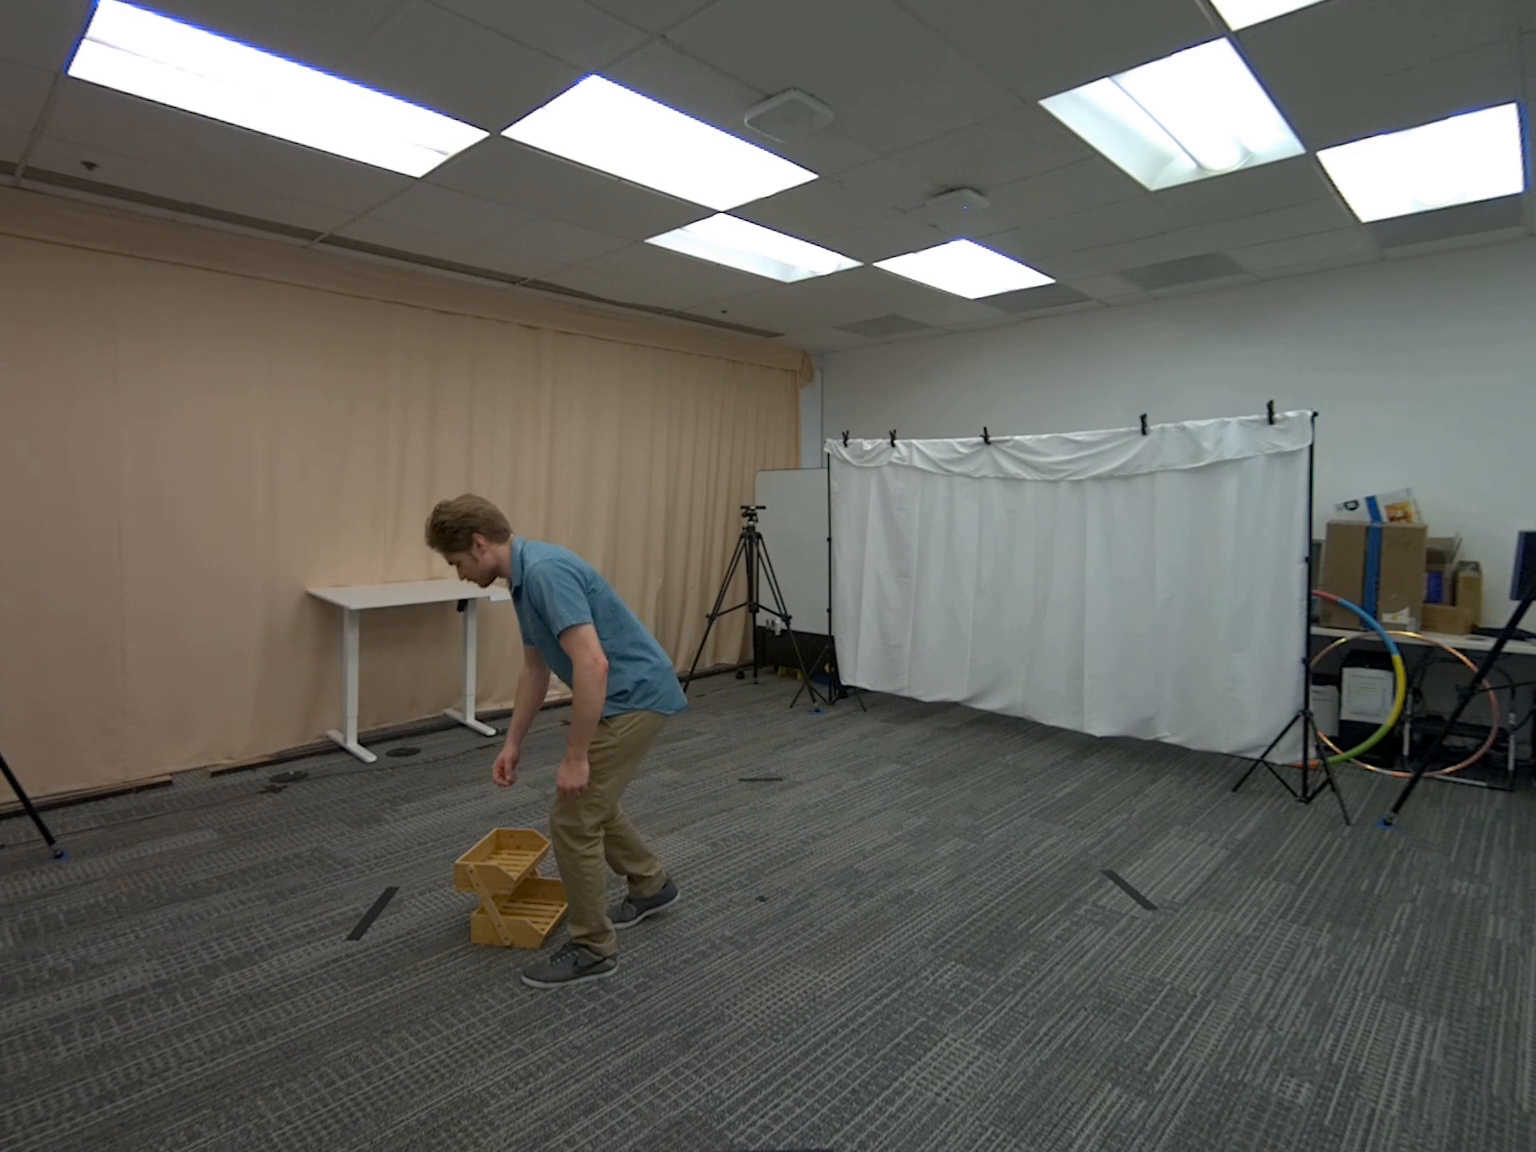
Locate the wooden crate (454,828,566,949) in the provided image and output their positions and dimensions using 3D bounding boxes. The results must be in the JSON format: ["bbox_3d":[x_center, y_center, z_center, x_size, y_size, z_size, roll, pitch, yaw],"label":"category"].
[{"bbox_3d":[-0.829,1.028,2.813,0.305,0.273,0.322,-1,3,9],"label":"wooden crate"}]
